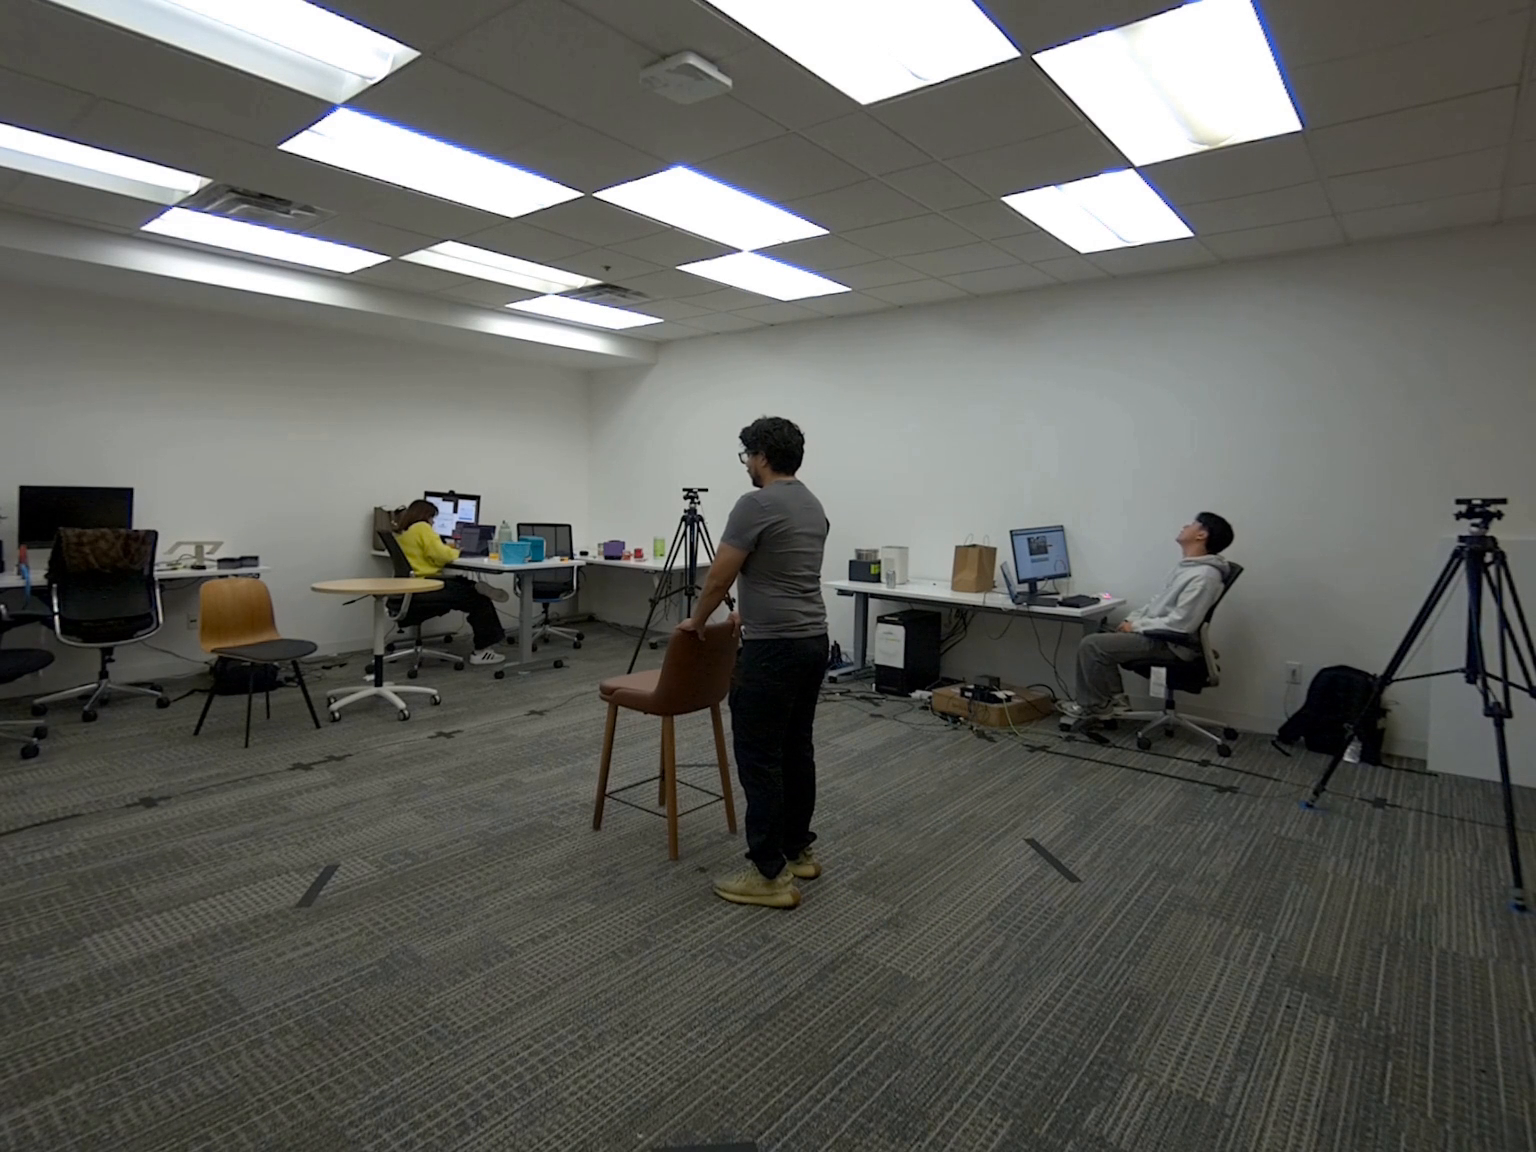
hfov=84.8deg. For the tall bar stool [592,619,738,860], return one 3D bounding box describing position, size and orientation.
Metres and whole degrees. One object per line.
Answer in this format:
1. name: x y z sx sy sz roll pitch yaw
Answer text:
1. tall bar stool: -0.410 0.597 3.439 0.484 0.887 0.443 6 5 39
